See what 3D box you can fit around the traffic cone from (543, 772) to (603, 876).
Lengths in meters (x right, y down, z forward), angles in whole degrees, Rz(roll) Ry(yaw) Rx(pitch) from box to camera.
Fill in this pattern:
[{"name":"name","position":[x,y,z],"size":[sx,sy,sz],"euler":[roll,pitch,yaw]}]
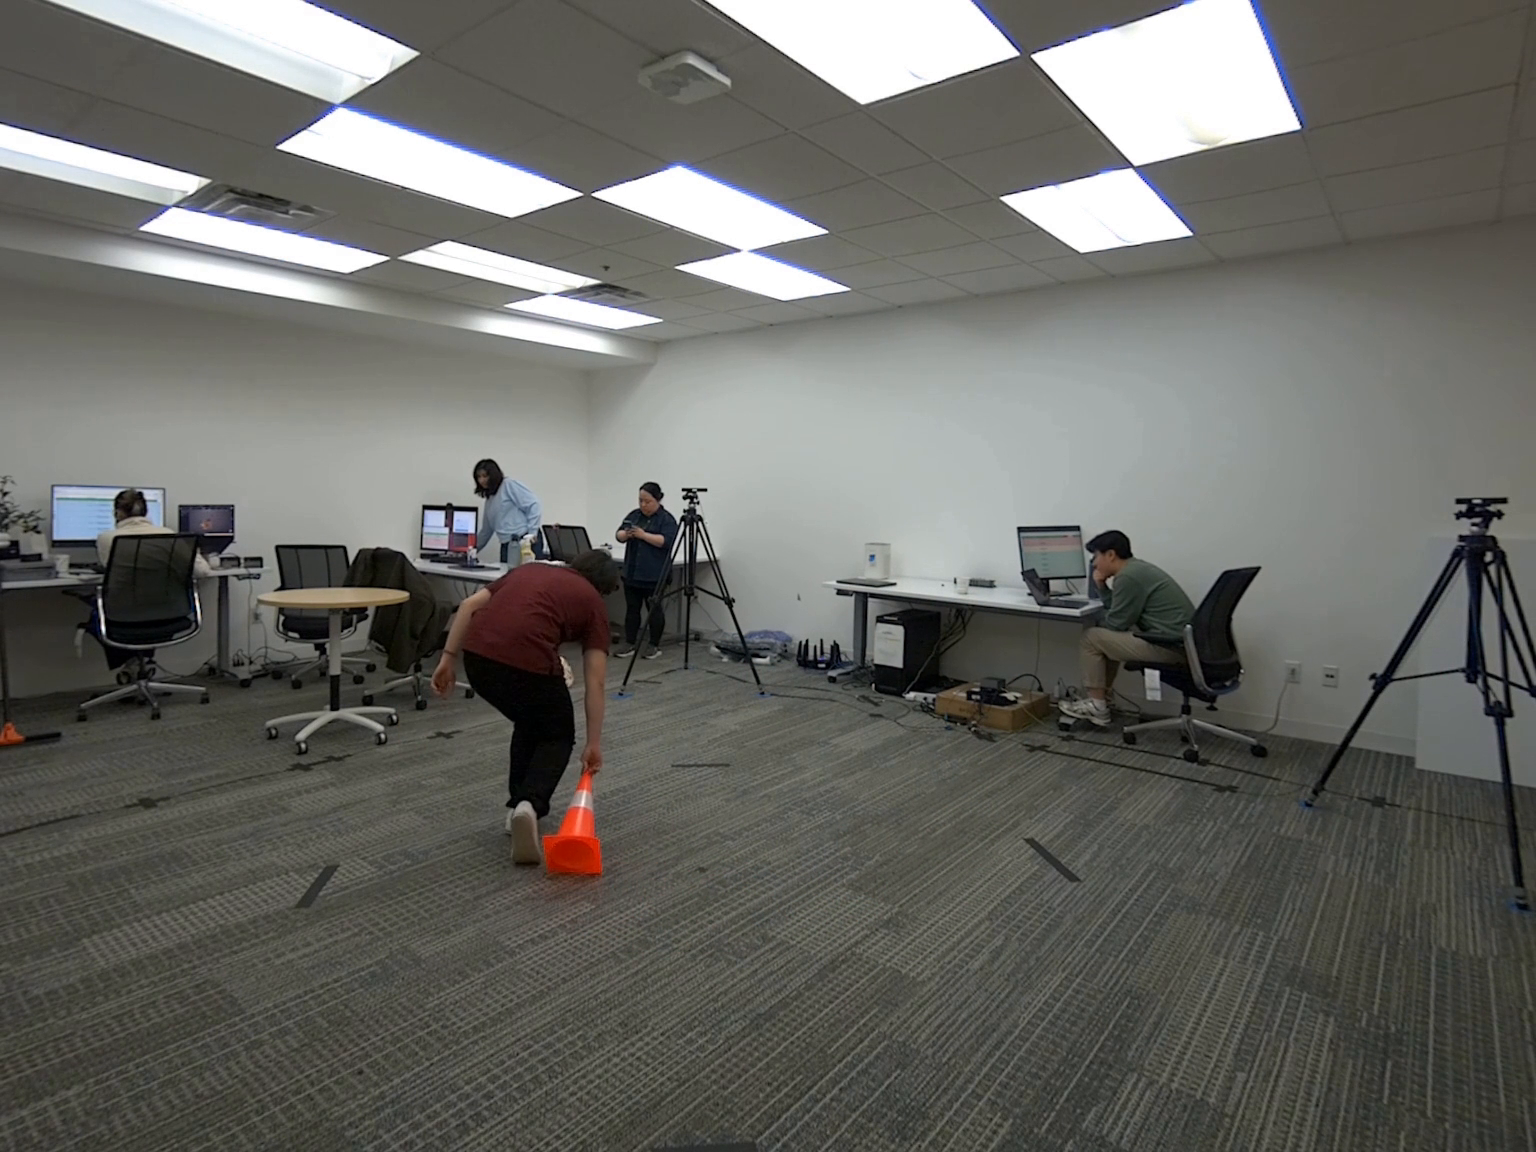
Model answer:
[{"name":"traffic cone","position":[-0.717,0.883,3.168],"size":[0.205,0.198,0.395],"euler":[-6,33,-1]}]
